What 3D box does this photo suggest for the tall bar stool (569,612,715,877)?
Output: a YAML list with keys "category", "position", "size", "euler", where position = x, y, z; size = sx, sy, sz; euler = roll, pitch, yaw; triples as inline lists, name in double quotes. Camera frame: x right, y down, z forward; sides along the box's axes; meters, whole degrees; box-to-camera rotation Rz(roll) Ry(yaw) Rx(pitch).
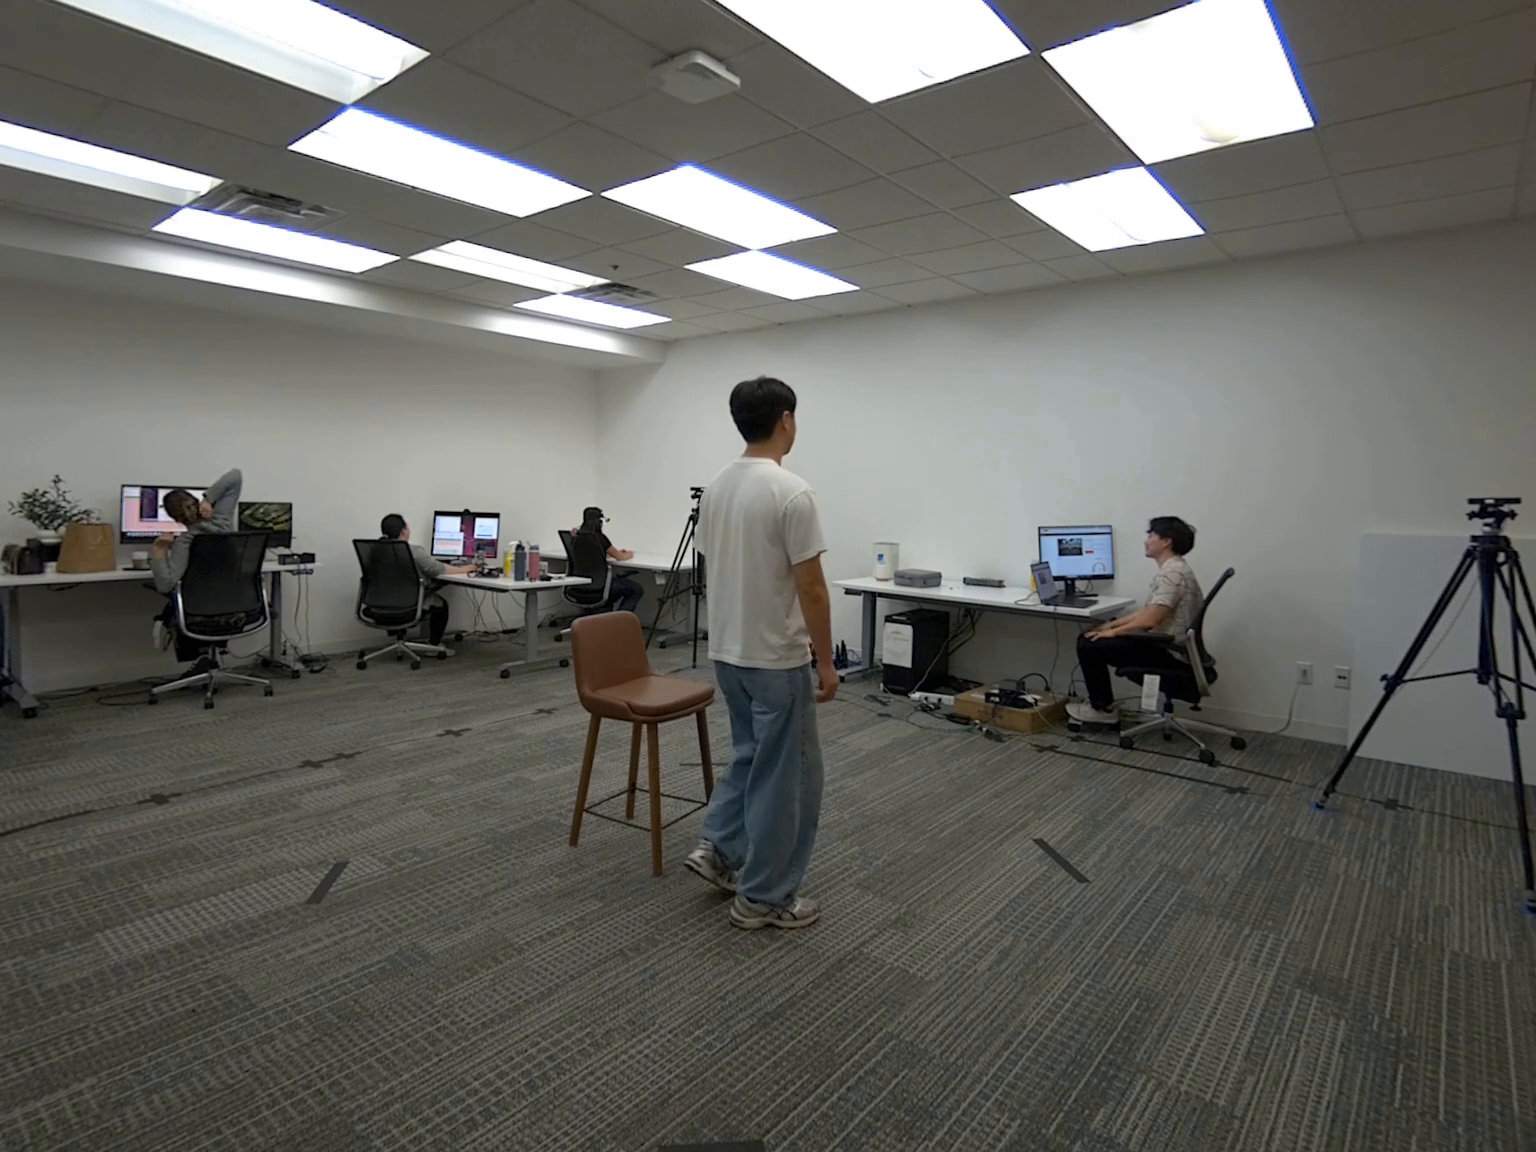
- category: "tall bar stool"
  position: [-0.493, 0.605, 3.310]
  size: [0.481, 0.888, 0.444]
  euler: [1, 2, 32]
